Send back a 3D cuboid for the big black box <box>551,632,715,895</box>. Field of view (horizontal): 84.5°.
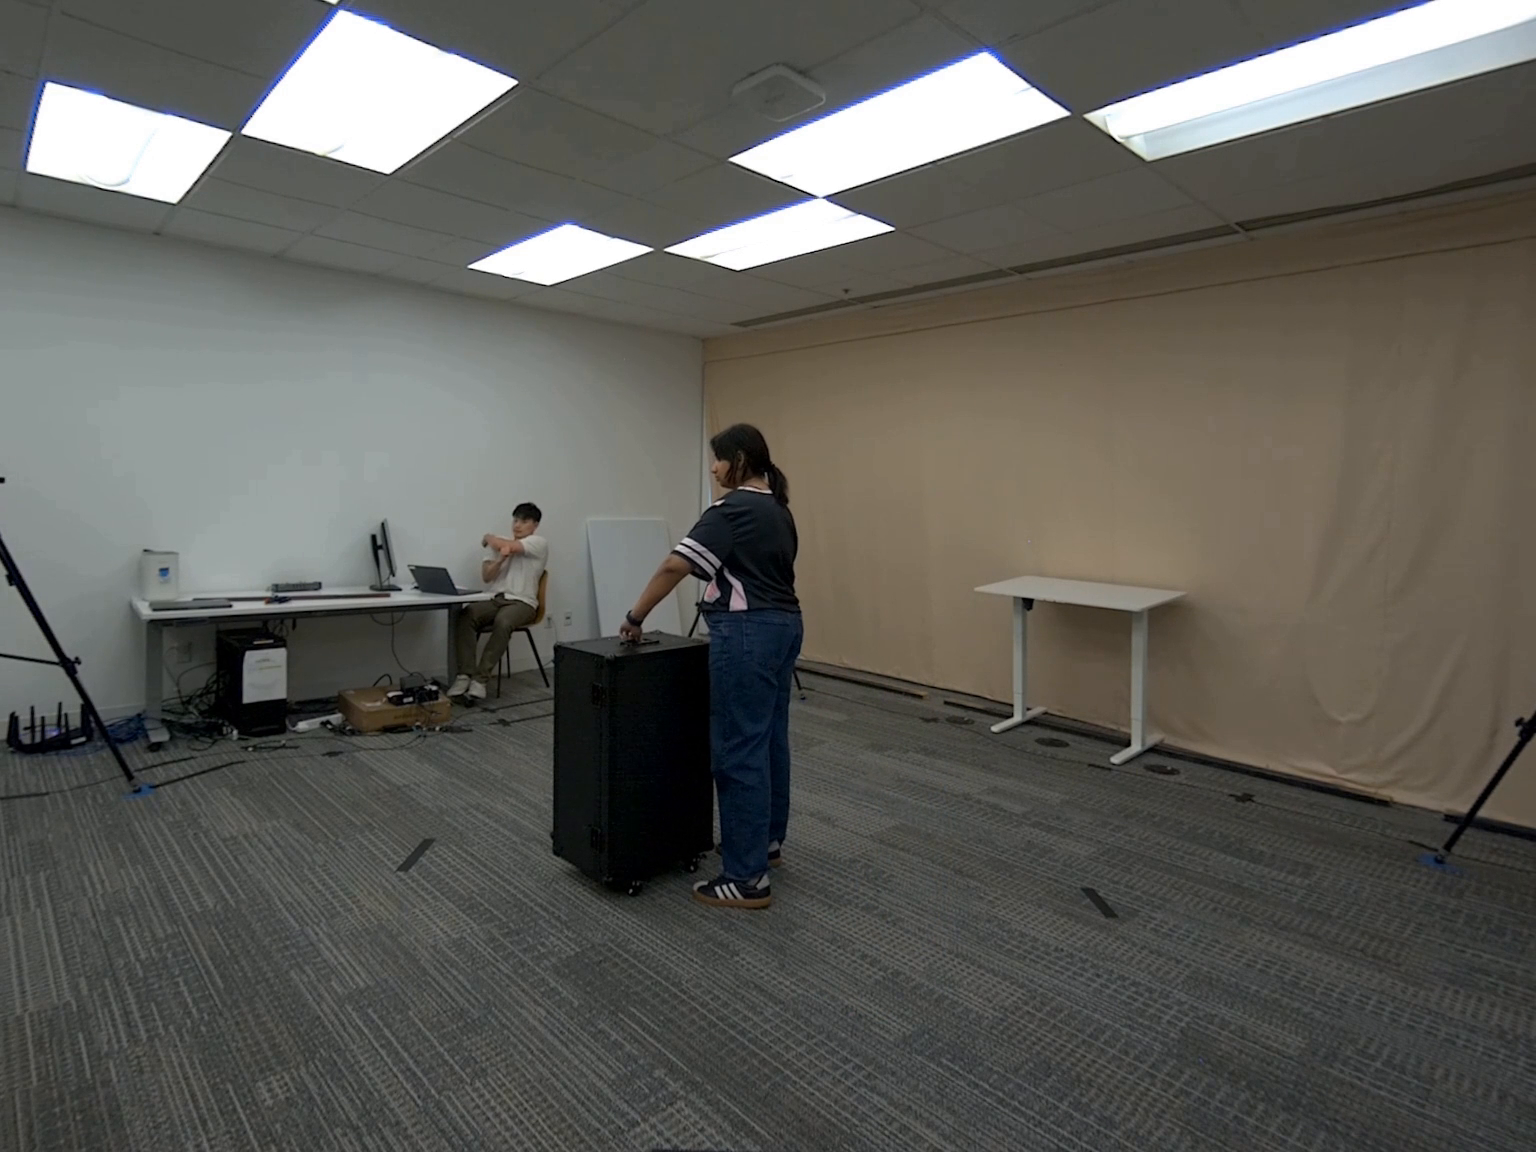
[{"bbox_3d":[-0.507,0.674,3.106,0.395,0.867,0.511,4,4,45],"label":"big black box"}]
